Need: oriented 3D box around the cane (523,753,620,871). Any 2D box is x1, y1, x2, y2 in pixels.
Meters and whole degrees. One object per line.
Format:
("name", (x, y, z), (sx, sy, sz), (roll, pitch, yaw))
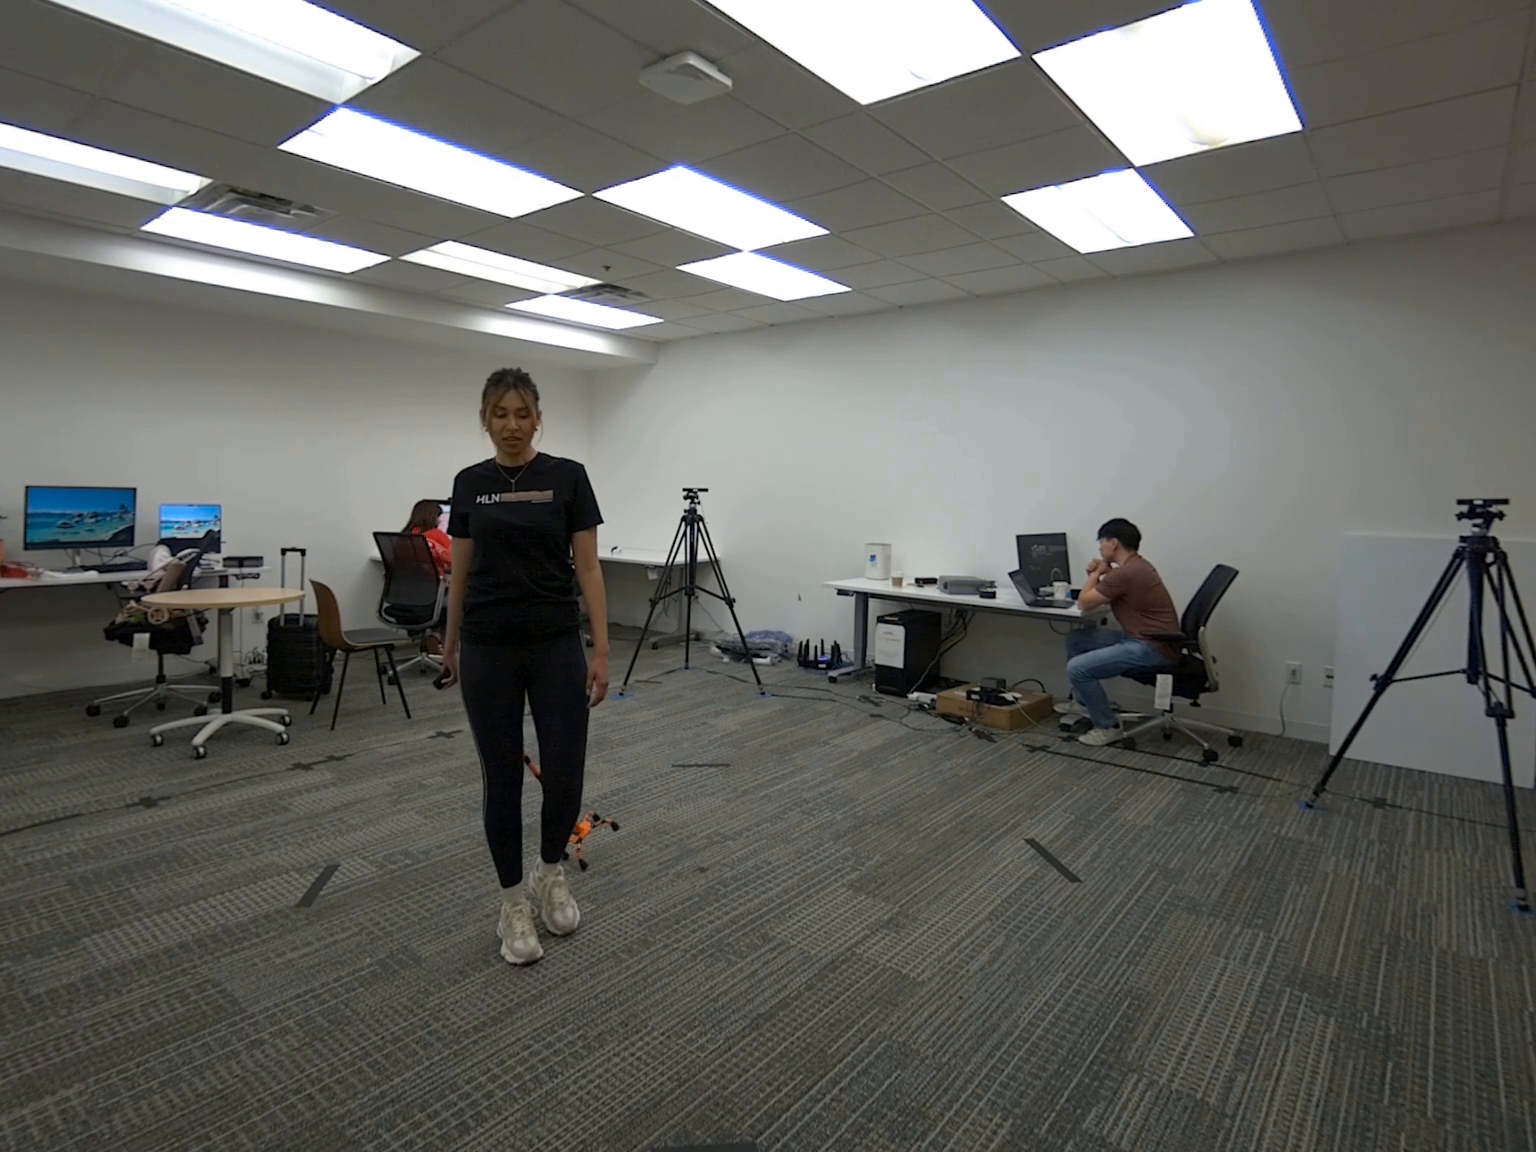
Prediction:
("cane", (-0.856, 0.643, 2.990), (0.156, 0.880, 0.206), (2, 38, 47))
